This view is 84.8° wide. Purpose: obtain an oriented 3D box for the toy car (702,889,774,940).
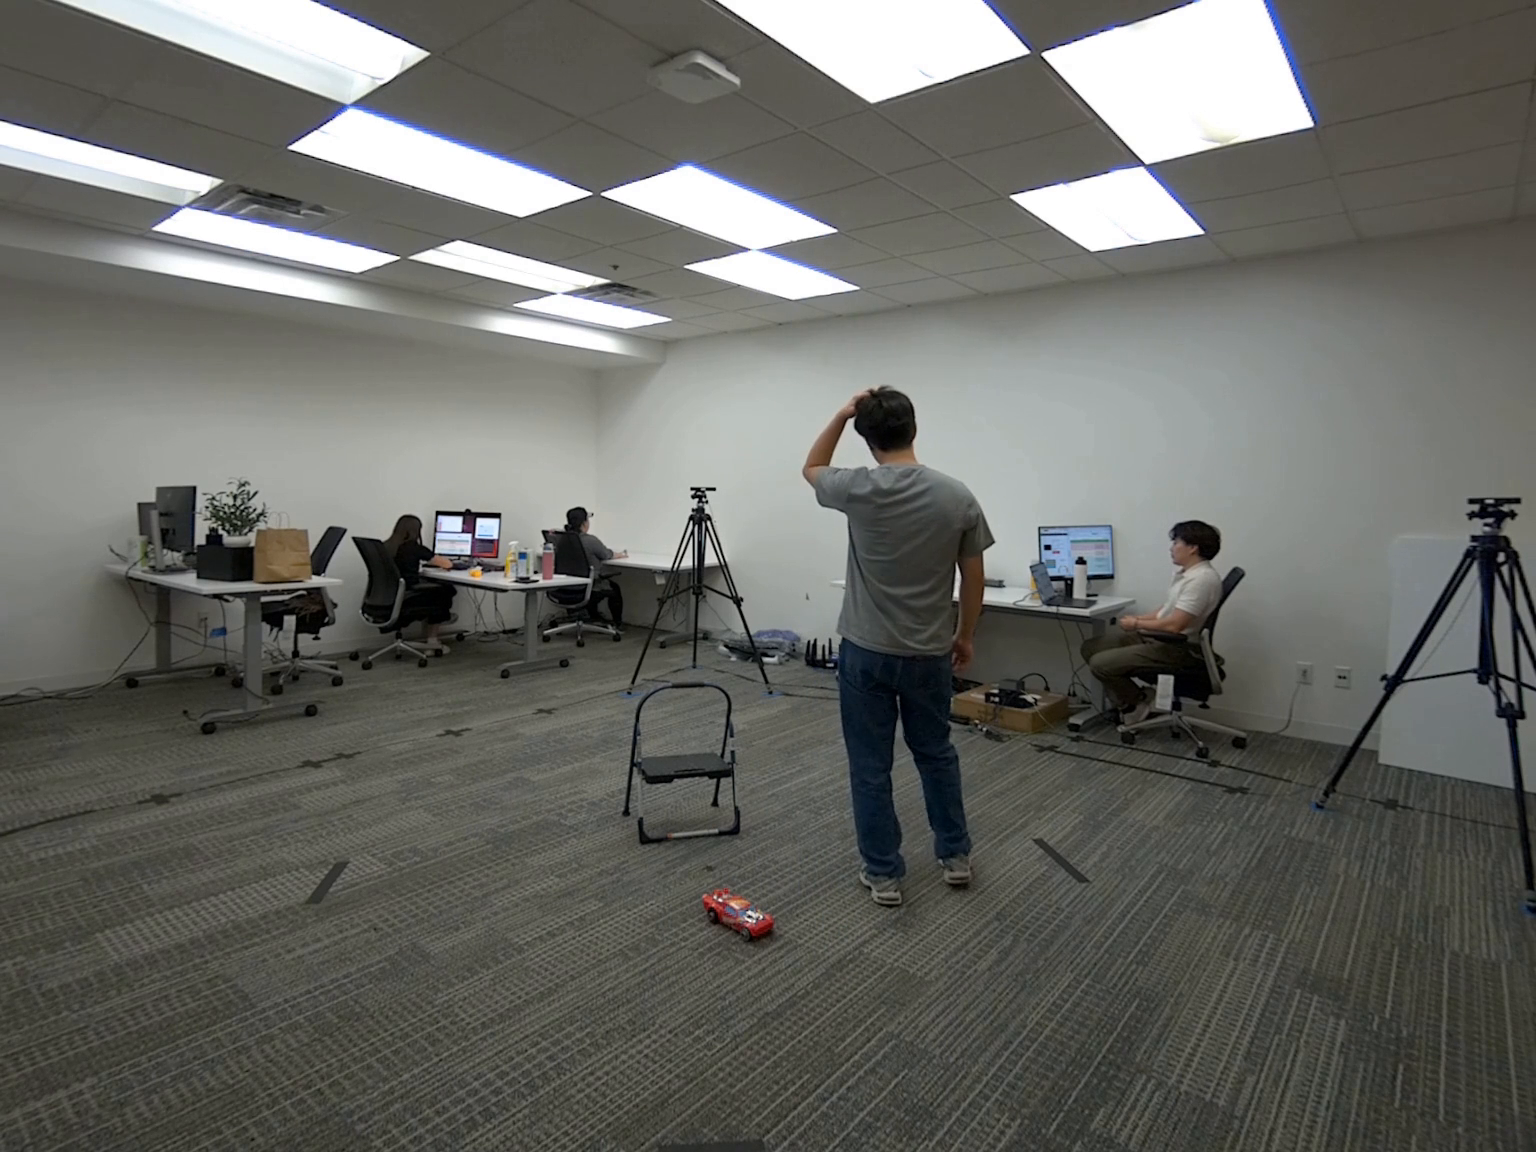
[{"bbox_3d":[-0.110,1.076,2.710,0.126,0.082,0.265,-3,18,-45],"label":"toy car"}]
